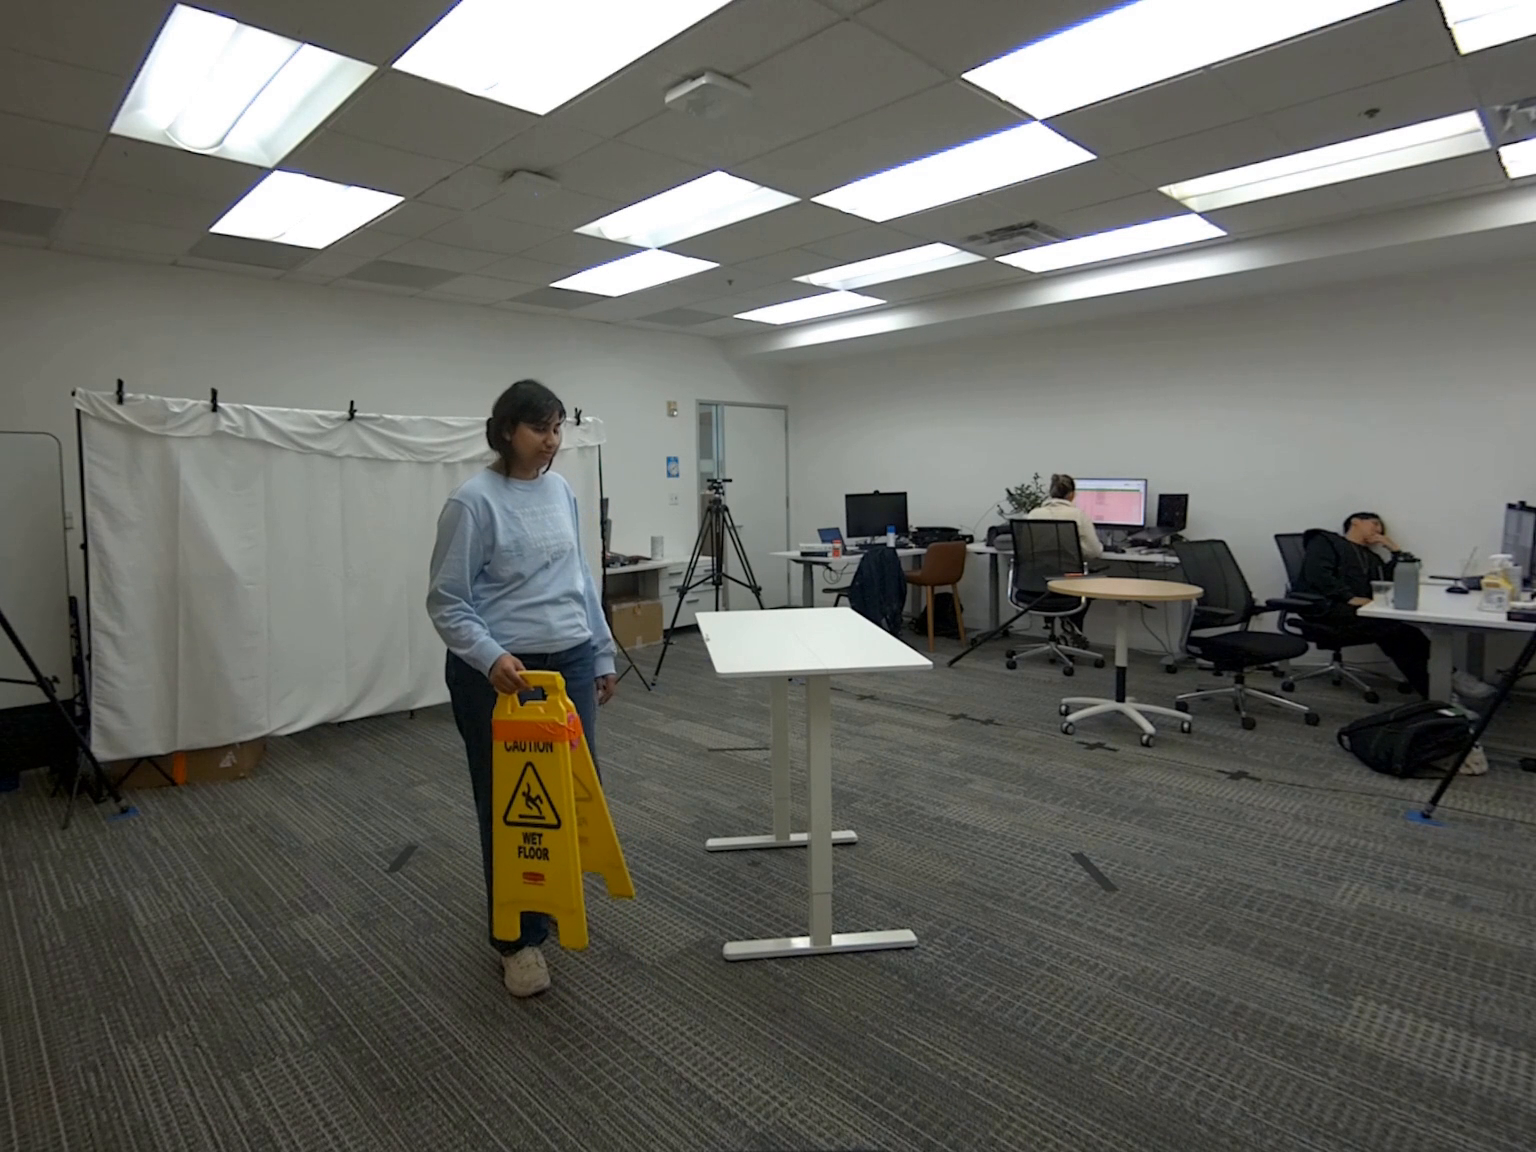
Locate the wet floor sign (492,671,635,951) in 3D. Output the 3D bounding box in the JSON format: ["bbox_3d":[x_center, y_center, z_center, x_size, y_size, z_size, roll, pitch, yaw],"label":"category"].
[{"bbox_3d":[-0.553,0.572,2.177,0.288,0.643,0.286,-8,5,24],"label":"wet floor sign"}]
